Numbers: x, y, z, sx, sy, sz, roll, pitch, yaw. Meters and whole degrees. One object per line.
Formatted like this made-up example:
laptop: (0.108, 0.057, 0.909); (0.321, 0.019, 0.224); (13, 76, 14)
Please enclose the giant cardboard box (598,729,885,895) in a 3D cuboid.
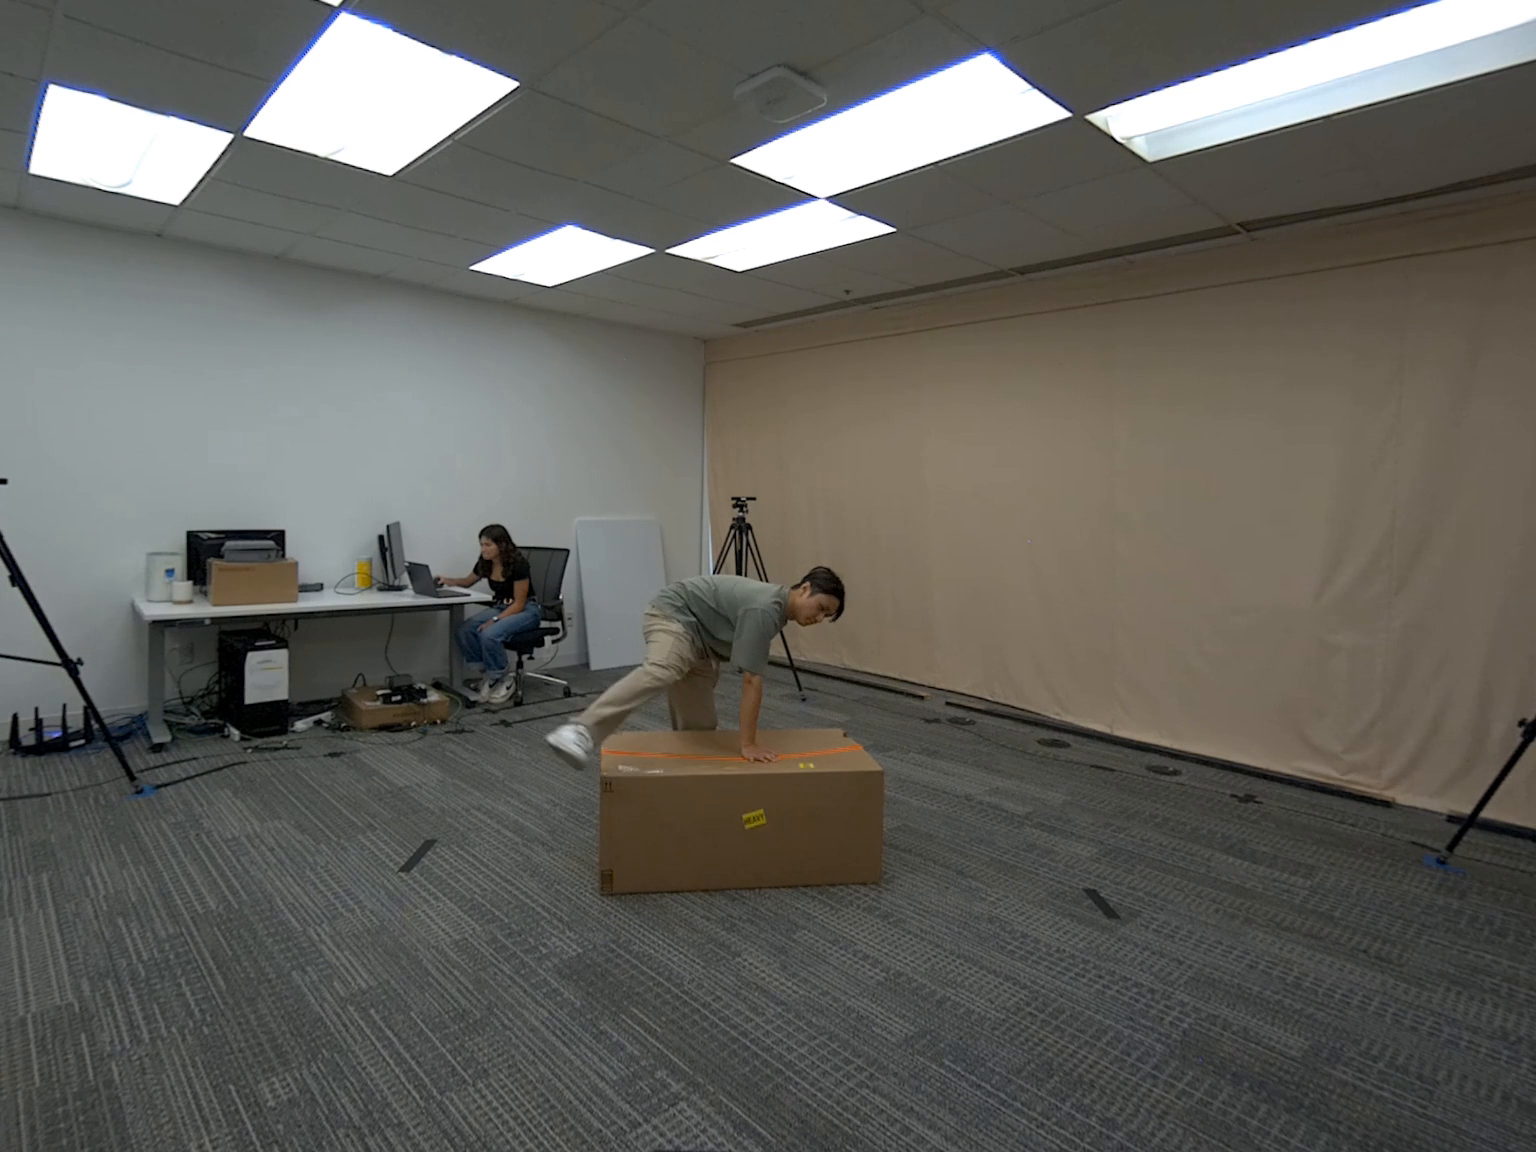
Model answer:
giant cardboard box: (-0.143, 0.884, 3.267); (1.018, 0.425, 0.583); (1, 5, -9)
